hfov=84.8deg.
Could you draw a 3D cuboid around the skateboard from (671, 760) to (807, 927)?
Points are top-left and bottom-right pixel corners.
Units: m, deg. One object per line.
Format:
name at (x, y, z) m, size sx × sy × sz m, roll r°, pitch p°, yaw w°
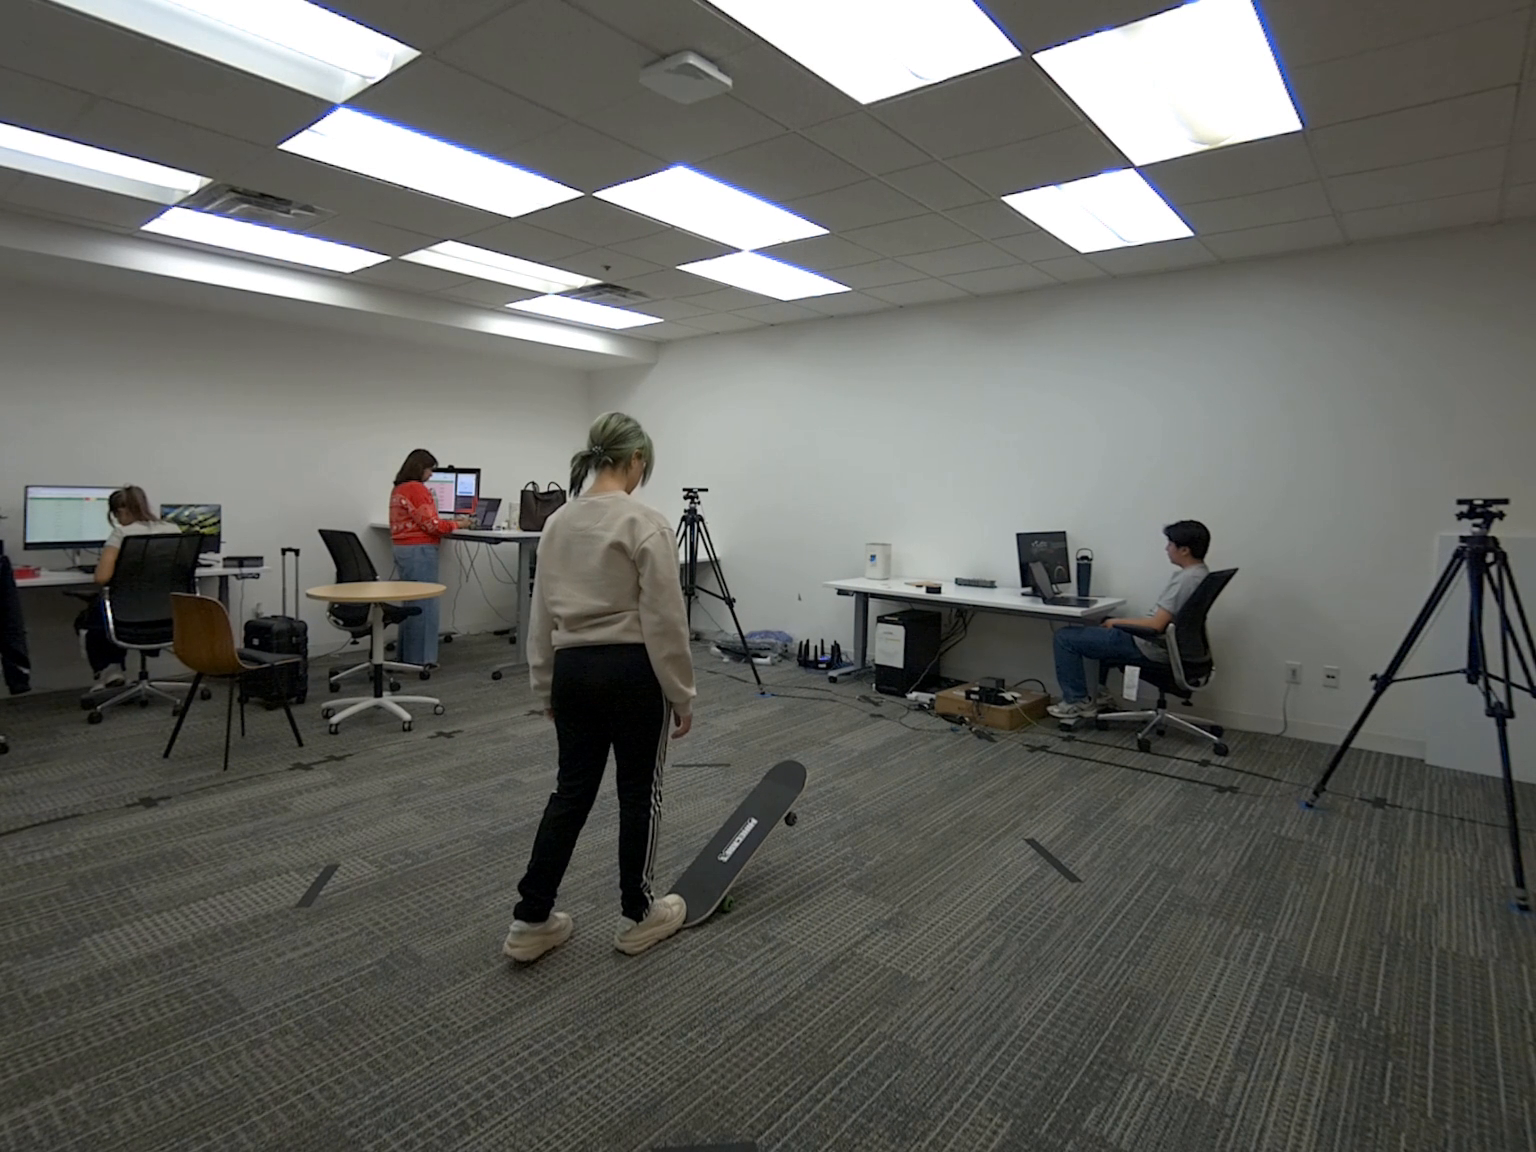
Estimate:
skateboard at (-0.101, 0.946, 2.971) m, size 0.200 × 0.107 × 0.782 m, roll 4°, pitch 34°, yaw 38°
